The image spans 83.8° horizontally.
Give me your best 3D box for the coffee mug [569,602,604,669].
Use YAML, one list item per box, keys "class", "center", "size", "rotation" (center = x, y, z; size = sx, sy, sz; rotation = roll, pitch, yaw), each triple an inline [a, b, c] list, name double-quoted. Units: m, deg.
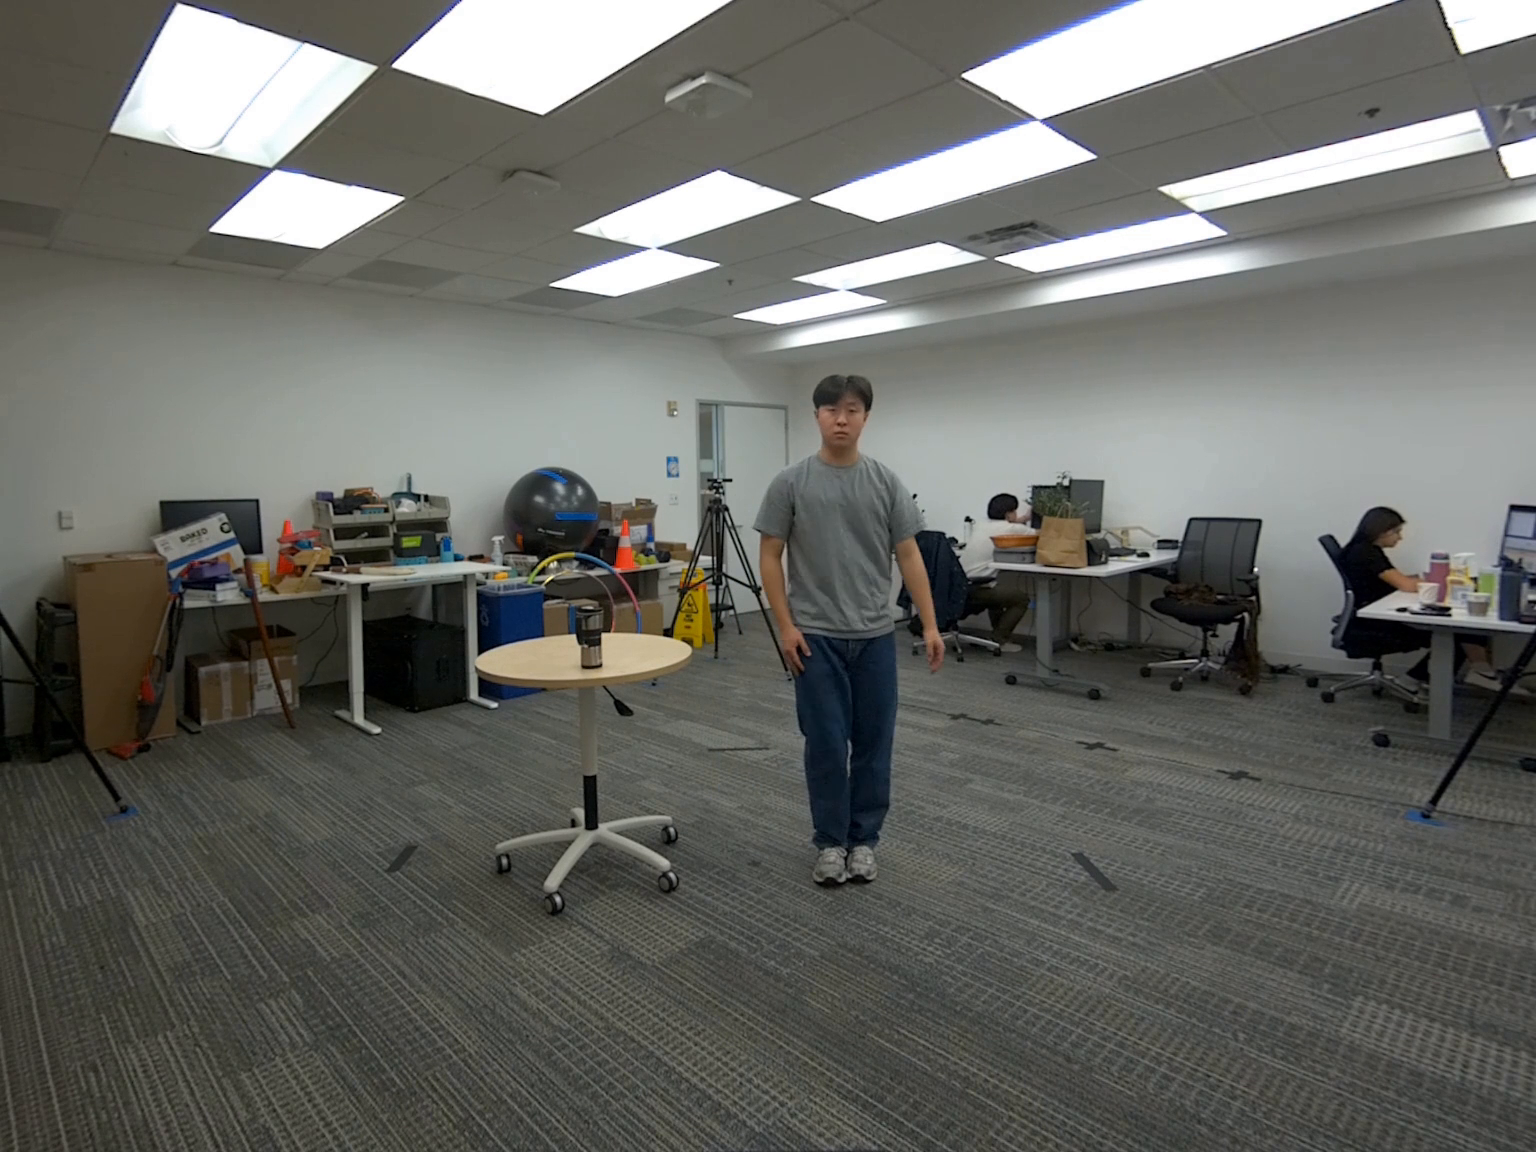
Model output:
- class: "coffee mug"
  center: [-0.606, 0.205, 2.827]
  size: [0.091, 0.202, 0.118]
  rotation: [6, 6, 44]
